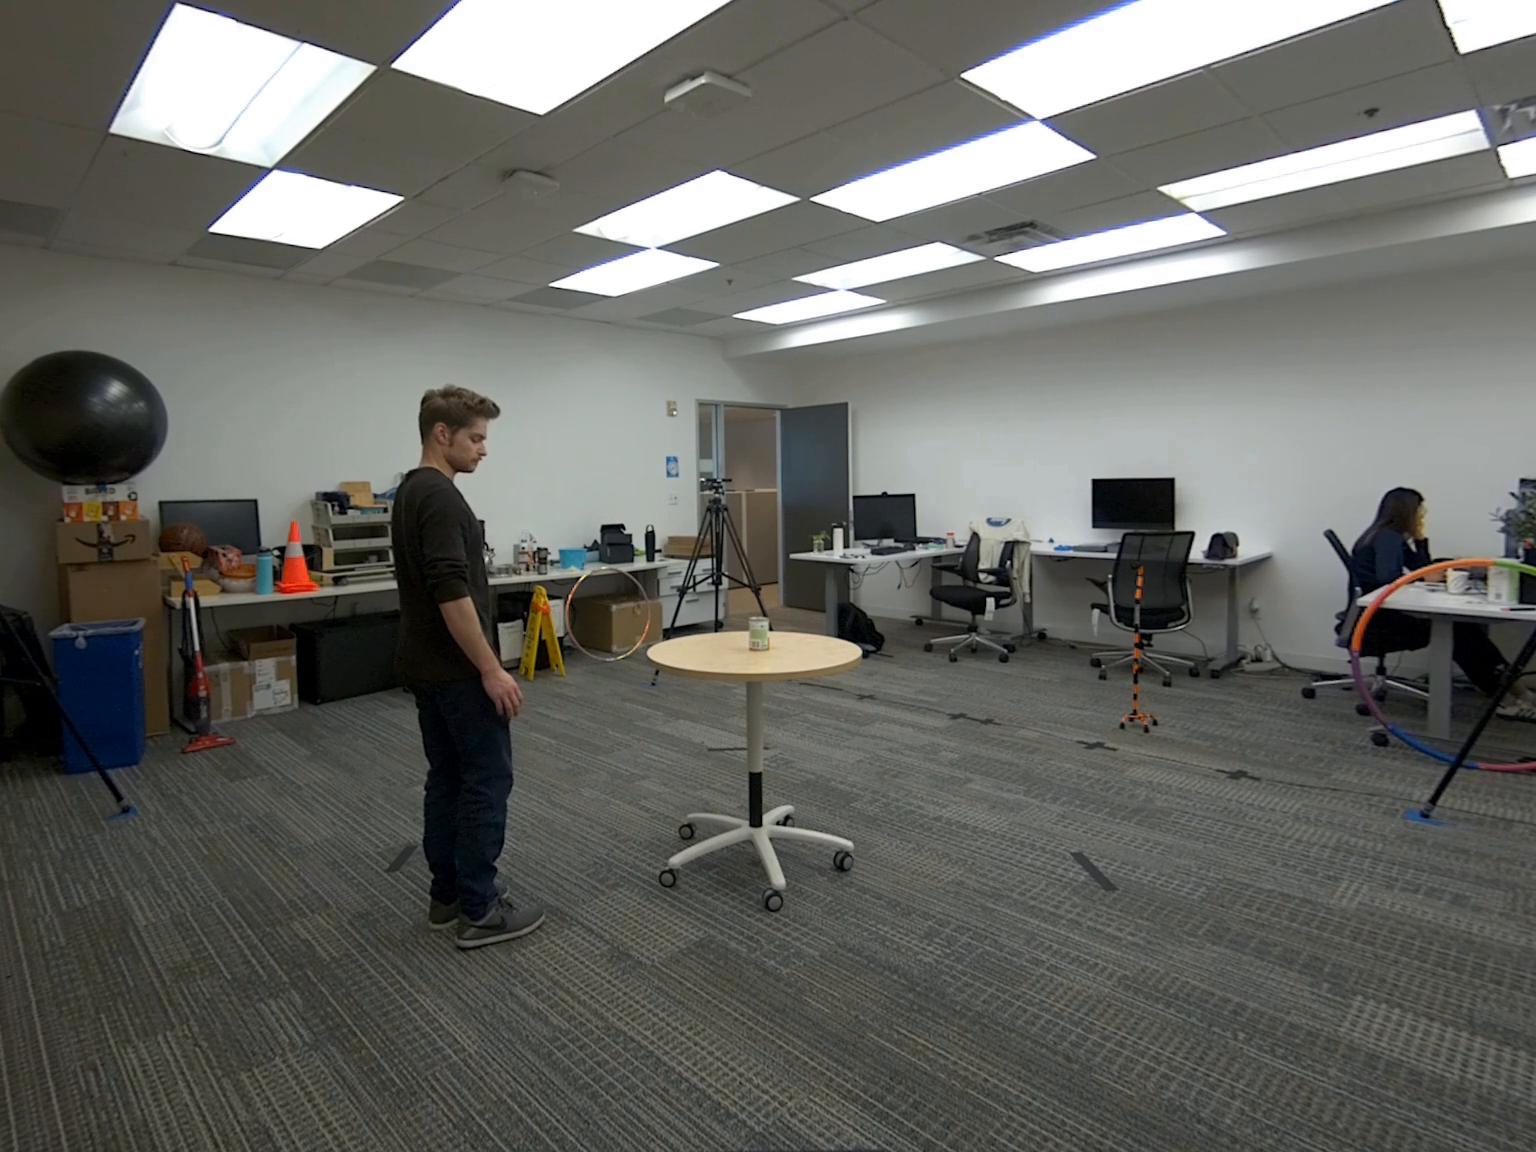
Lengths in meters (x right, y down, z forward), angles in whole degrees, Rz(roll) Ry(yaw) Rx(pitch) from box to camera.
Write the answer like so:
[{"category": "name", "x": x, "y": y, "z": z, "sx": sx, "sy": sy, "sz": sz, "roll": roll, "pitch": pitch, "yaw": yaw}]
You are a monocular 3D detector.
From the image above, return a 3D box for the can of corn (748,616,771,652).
[{"category": "can of corn", "x": -0.029, "y": 0.209, "z": 3.061, "sx": 0.074, "sy": 0.110, "sz": 0.075, "roll": -1, "pitch": 6, "yaw": -2}]
